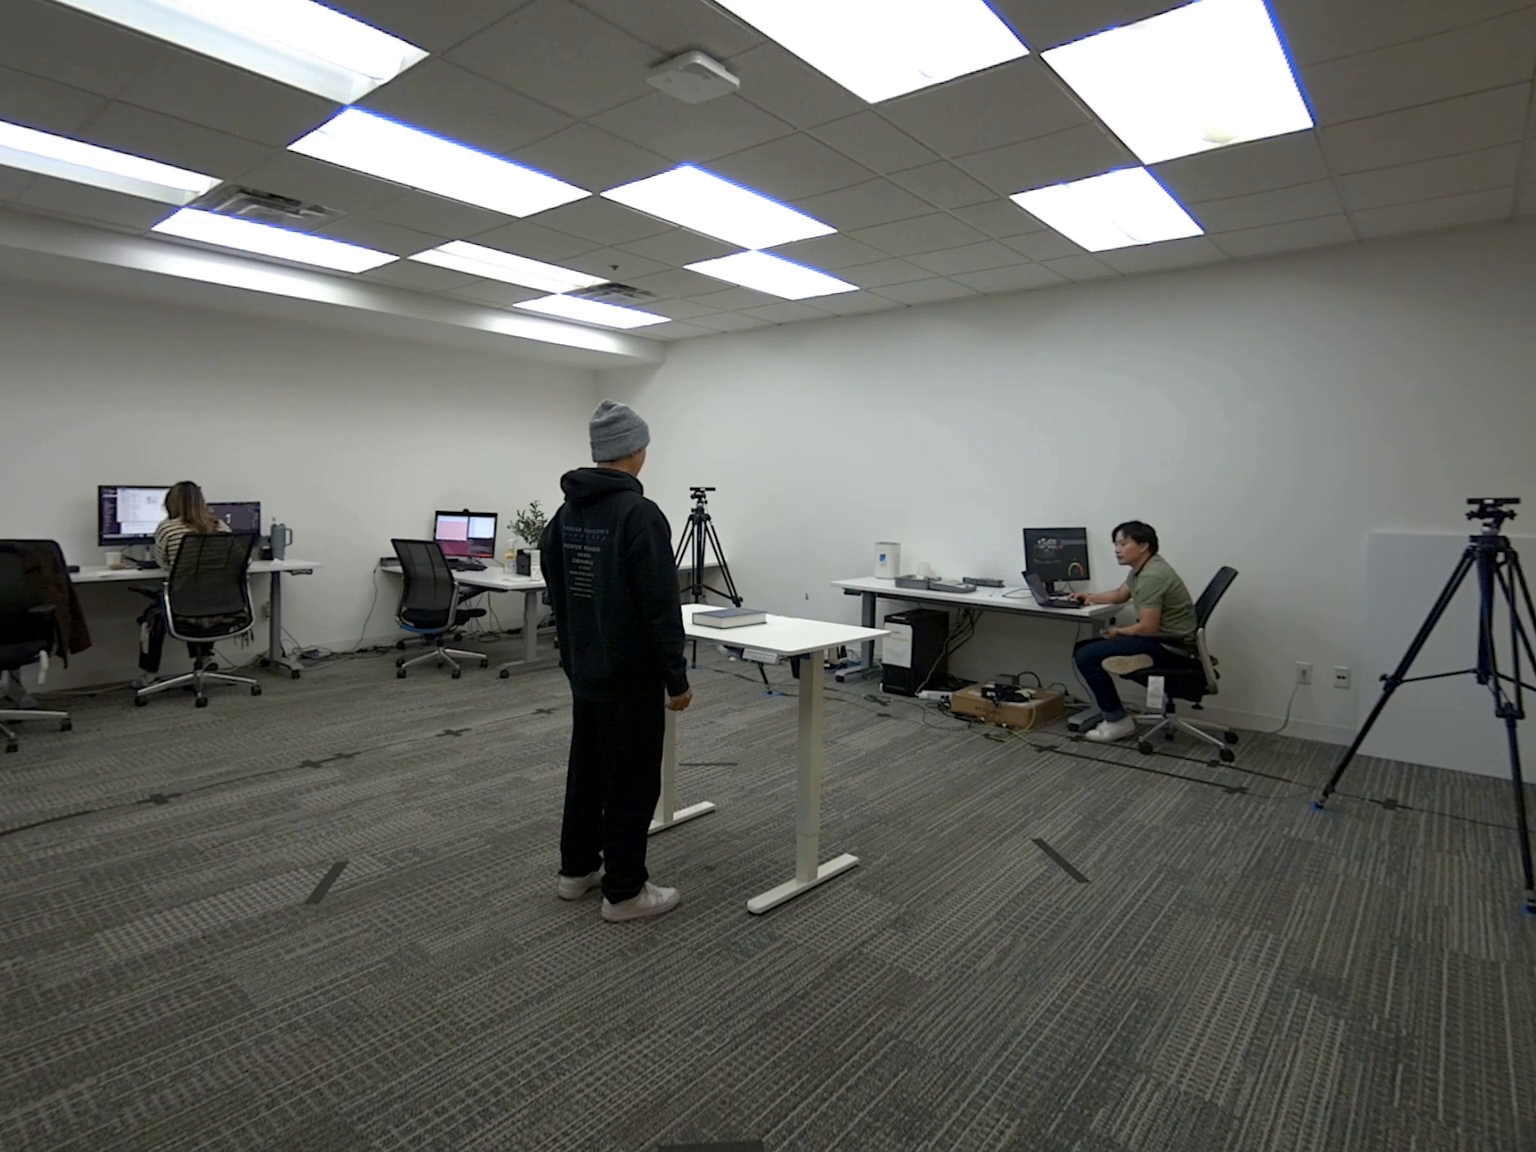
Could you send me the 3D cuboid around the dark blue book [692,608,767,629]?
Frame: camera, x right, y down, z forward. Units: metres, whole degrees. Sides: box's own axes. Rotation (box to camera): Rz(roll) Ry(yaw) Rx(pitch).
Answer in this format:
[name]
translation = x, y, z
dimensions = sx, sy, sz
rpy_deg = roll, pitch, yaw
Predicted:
[dark blue book]
translation = -0.145, 0.157, 3.211
dimensions = 0.169, 0.045, 0.238
rpy_deg = 5, 7, 43
